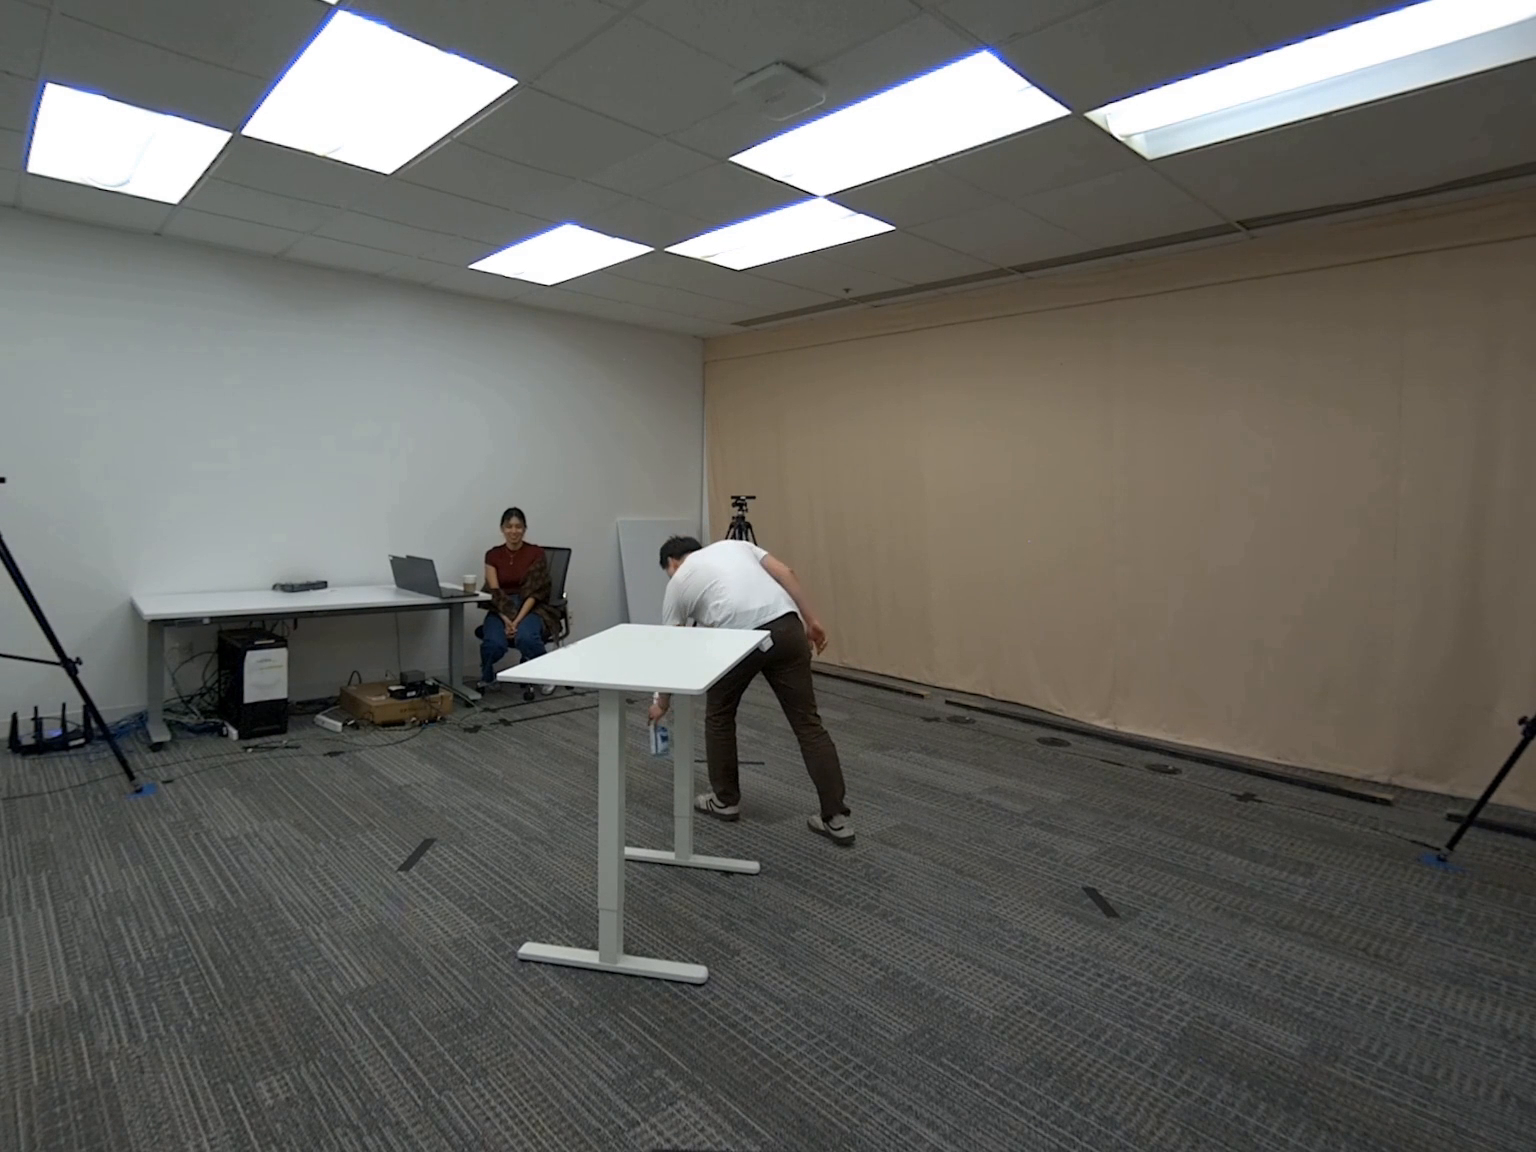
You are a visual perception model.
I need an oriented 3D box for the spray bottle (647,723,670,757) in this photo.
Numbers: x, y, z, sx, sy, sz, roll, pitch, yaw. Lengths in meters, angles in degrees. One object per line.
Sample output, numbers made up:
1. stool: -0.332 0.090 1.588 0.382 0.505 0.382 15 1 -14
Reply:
1. spray bottle: -0.512 0.681 3.930 0.088 0.300 0.088 -7 -11 13
